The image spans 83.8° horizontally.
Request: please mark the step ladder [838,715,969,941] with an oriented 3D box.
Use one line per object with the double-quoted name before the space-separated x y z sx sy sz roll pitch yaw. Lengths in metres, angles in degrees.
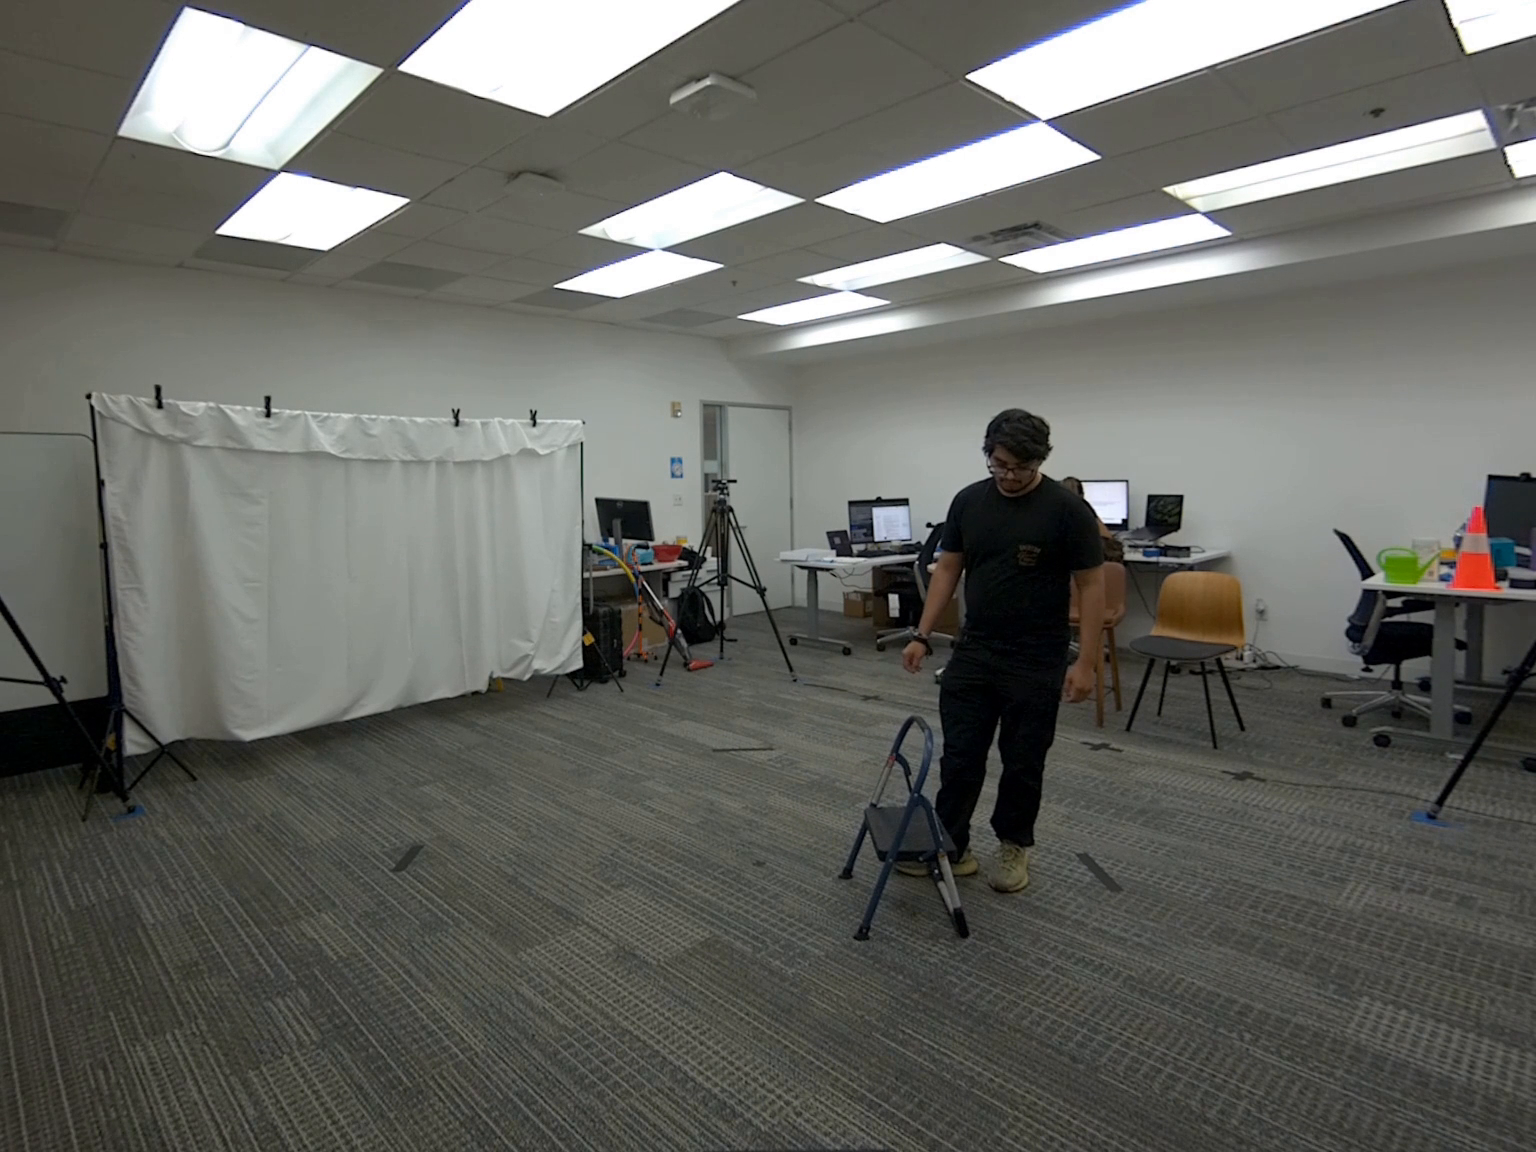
"step ladder" 0.432 0.779 2.768 0.349 0.604 0.432 -2 4 -1
